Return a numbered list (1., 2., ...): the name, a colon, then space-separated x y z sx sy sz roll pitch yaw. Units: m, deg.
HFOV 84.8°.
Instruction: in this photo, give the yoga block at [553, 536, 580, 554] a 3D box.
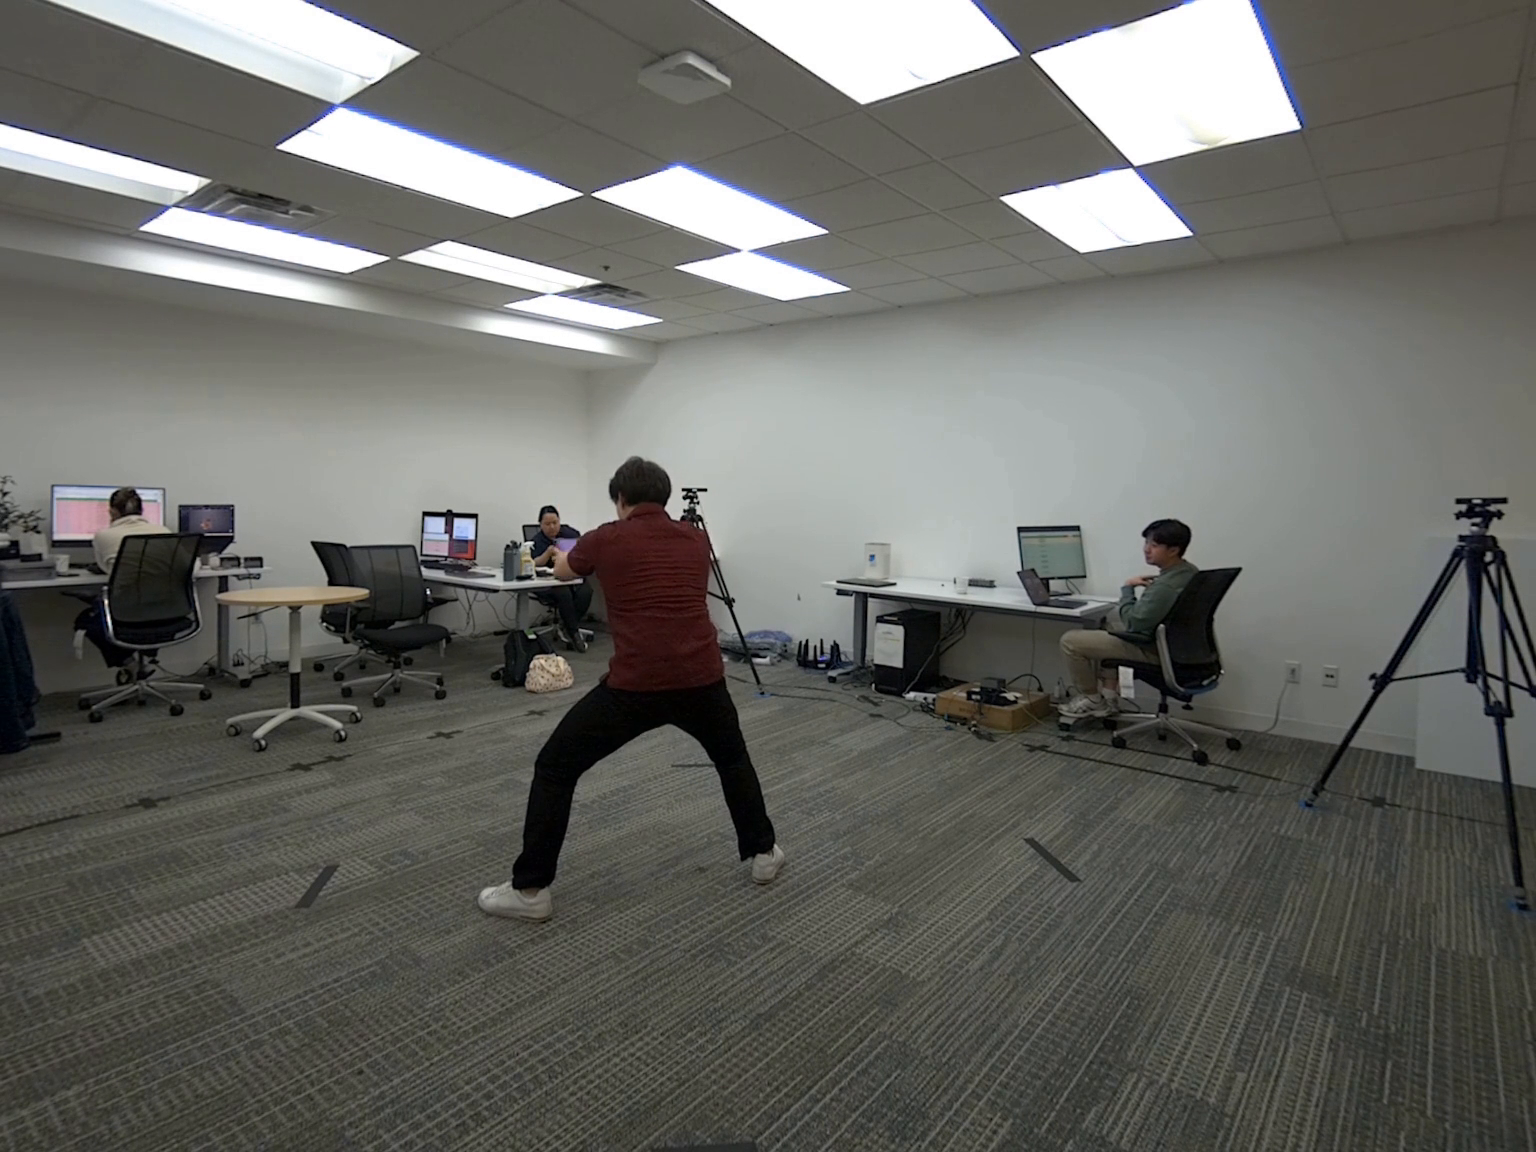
1. yoga block: -0.736 -0.091 3.452 0.223 0.075 0.155 -4 23 -29
